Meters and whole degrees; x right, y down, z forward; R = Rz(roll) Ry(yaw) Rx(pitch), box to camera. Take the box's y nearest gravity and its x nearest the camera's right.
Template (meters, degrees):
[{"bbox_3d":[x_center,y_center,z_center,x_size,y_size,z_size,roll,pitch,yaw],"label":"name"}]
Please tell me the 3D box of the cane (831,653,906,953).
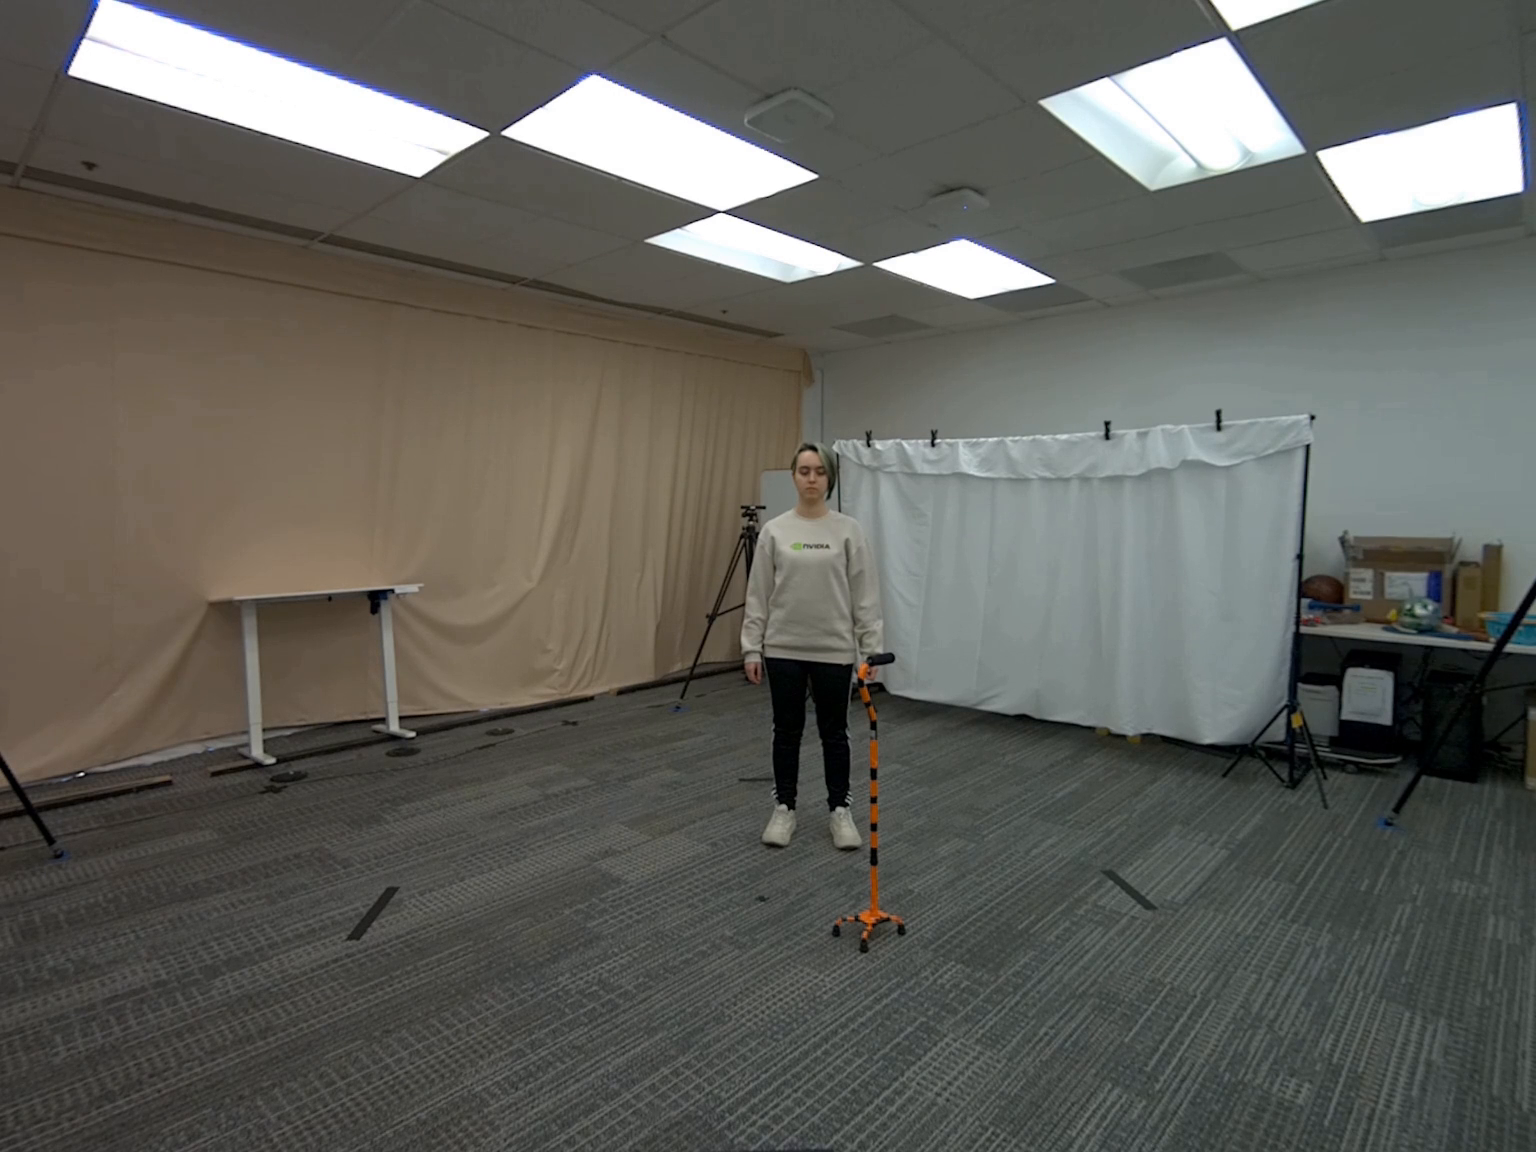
[{"bbox_3d":[0.327,0.708,2.713,0.200,0.906,0.156,-3,3,-39],"label":"cane"}]
